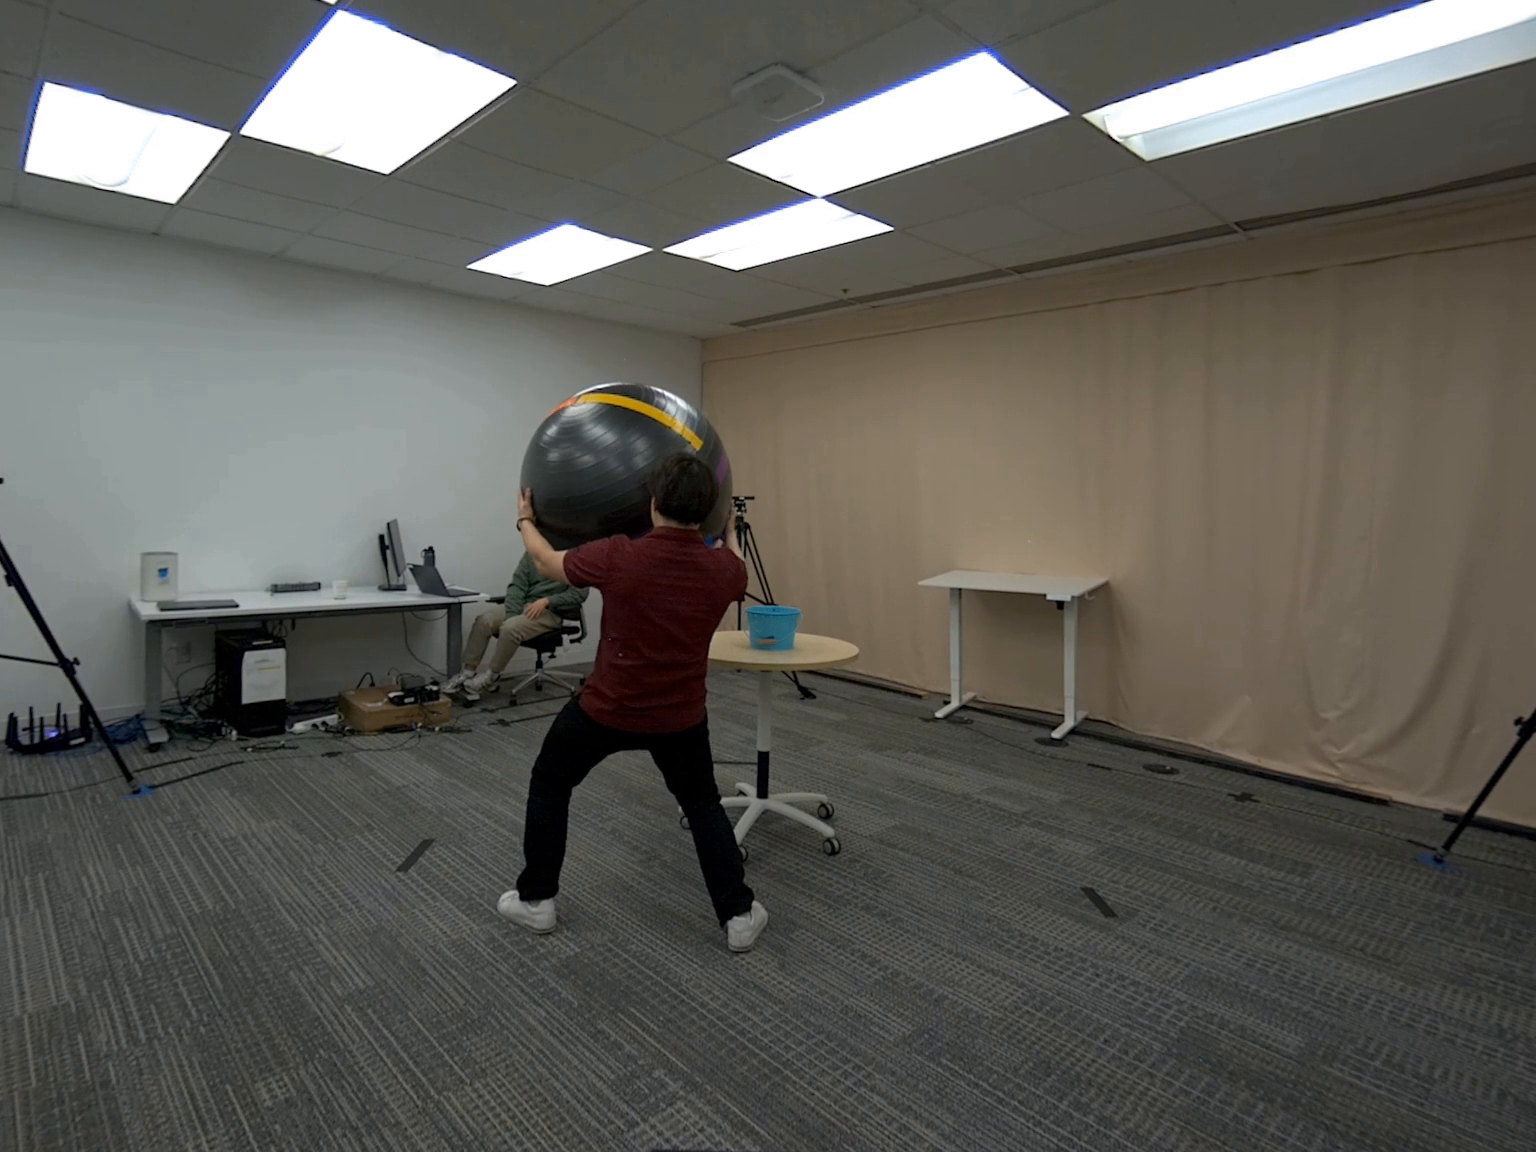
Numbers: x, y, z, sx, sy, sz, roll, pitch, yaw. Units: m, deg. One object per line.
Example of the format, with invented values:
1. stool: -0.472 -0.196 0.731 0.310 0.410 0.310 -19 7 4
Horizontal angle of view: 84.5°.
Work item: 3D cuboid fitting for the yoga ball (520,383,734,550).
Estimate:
1. yoga ball: -0.519 -0.315 3.045 0.757 0.756 0.761 1 4 -1
